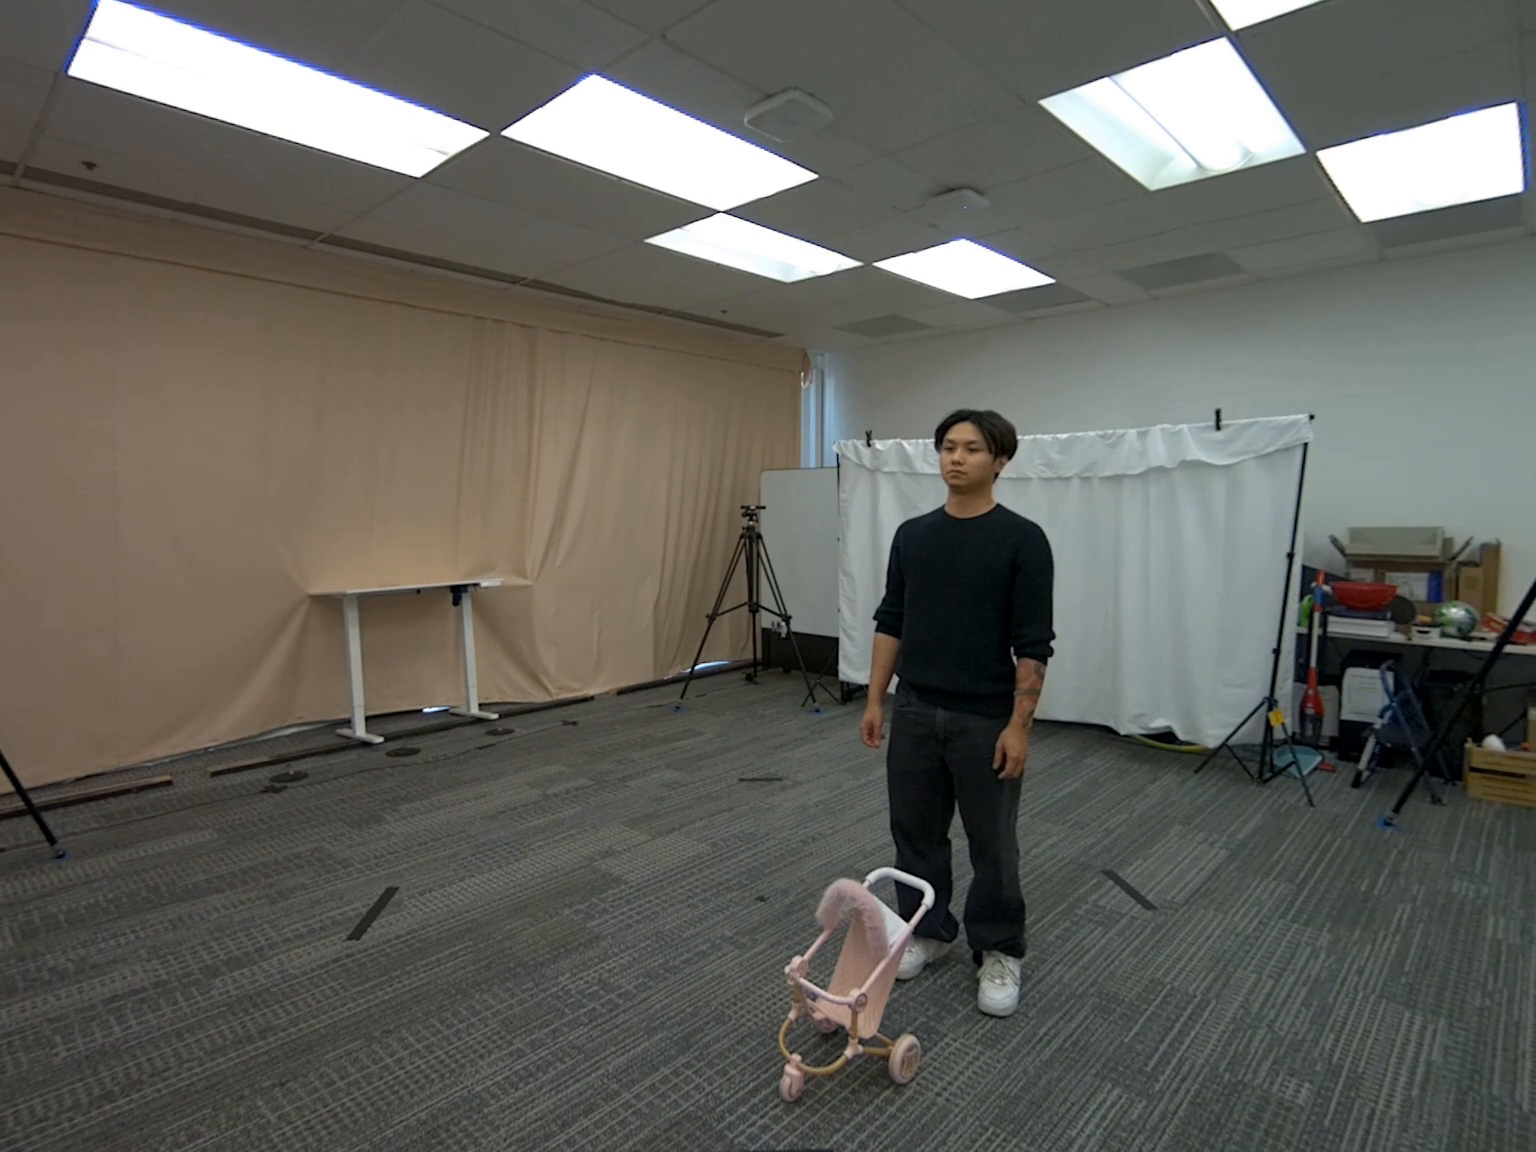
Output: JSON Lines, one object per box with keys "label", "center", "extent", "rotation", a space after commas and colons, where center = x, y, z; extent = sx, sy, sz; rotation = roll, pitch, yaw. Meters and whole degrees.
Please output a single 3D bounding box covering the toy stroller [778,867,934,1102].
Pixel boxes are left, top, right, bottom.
{"label": "toy stroller", "center": [0.206, 0.999, 2.083], "extent": [0.330, 0.536, 0.290], "rotation": [20, -9, -35]}
